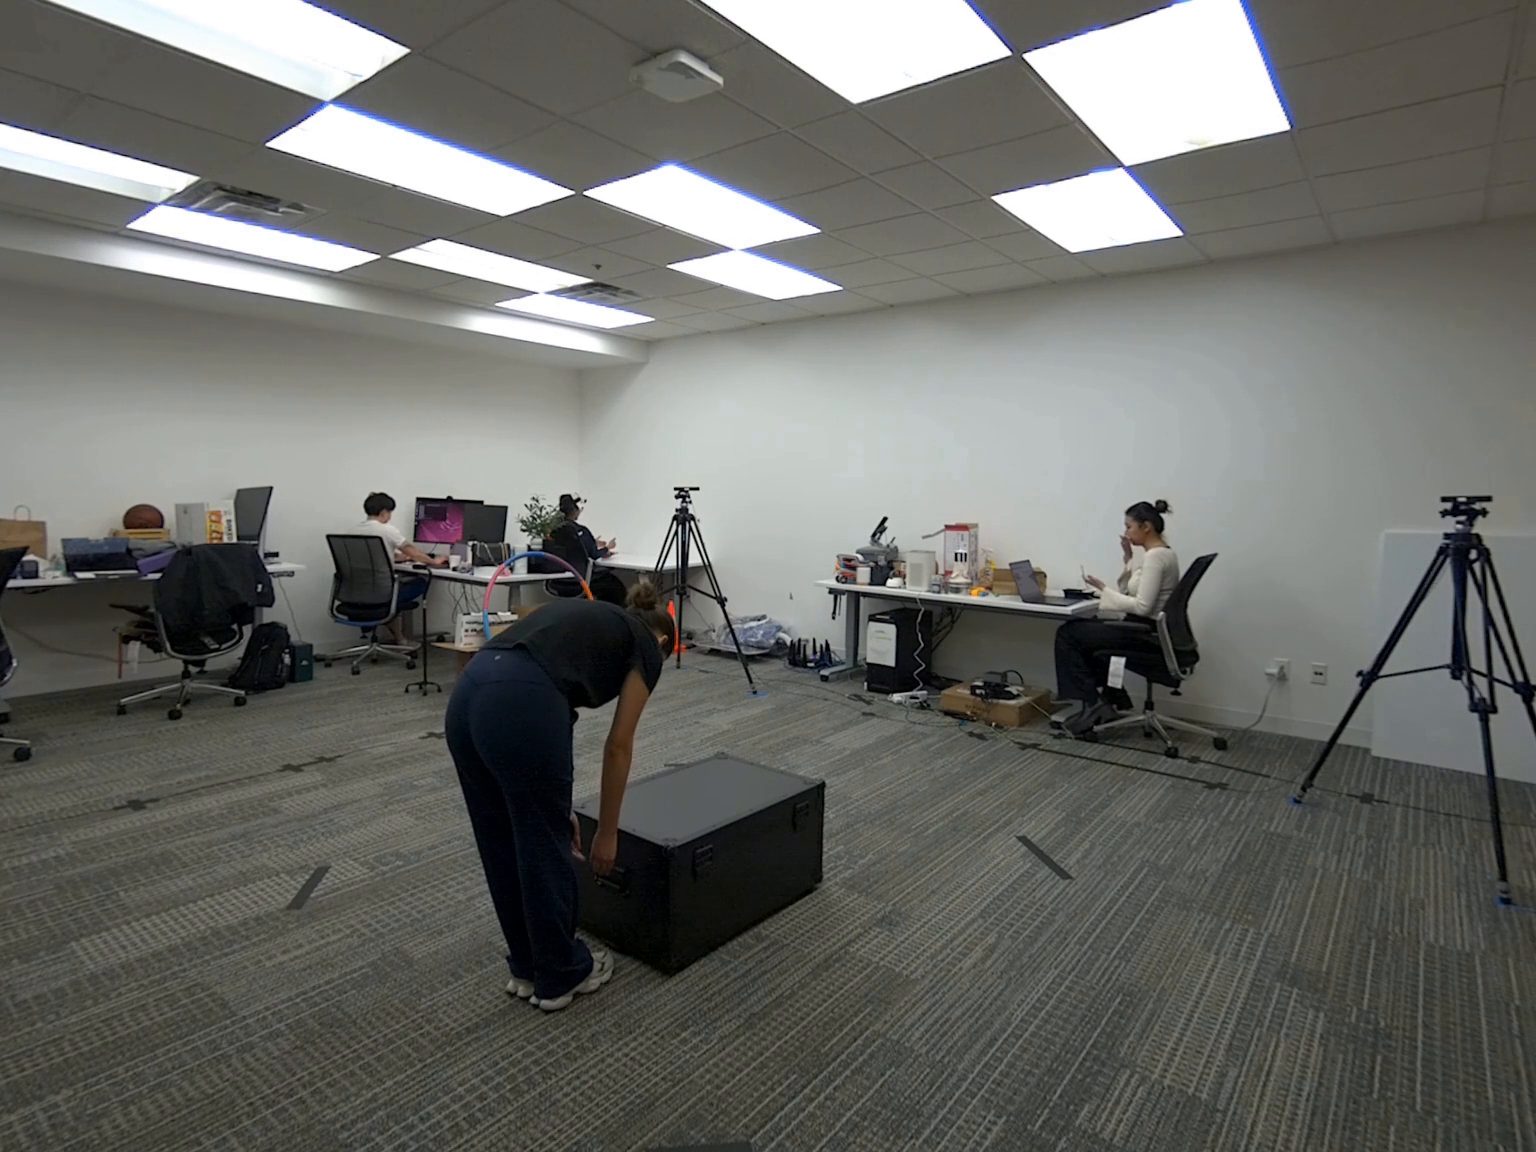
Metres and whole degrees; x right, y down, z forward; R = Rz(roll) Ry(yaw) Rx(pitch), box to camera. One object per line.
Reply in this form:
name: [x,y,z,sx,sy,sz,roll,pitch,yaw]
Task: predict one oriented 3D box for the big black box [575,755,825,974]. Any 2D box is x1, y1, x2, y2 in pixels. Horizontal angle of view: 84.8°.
big black box: [-0.195,0.901,2.865,0.539,0.394,0.837,5,7,39]
